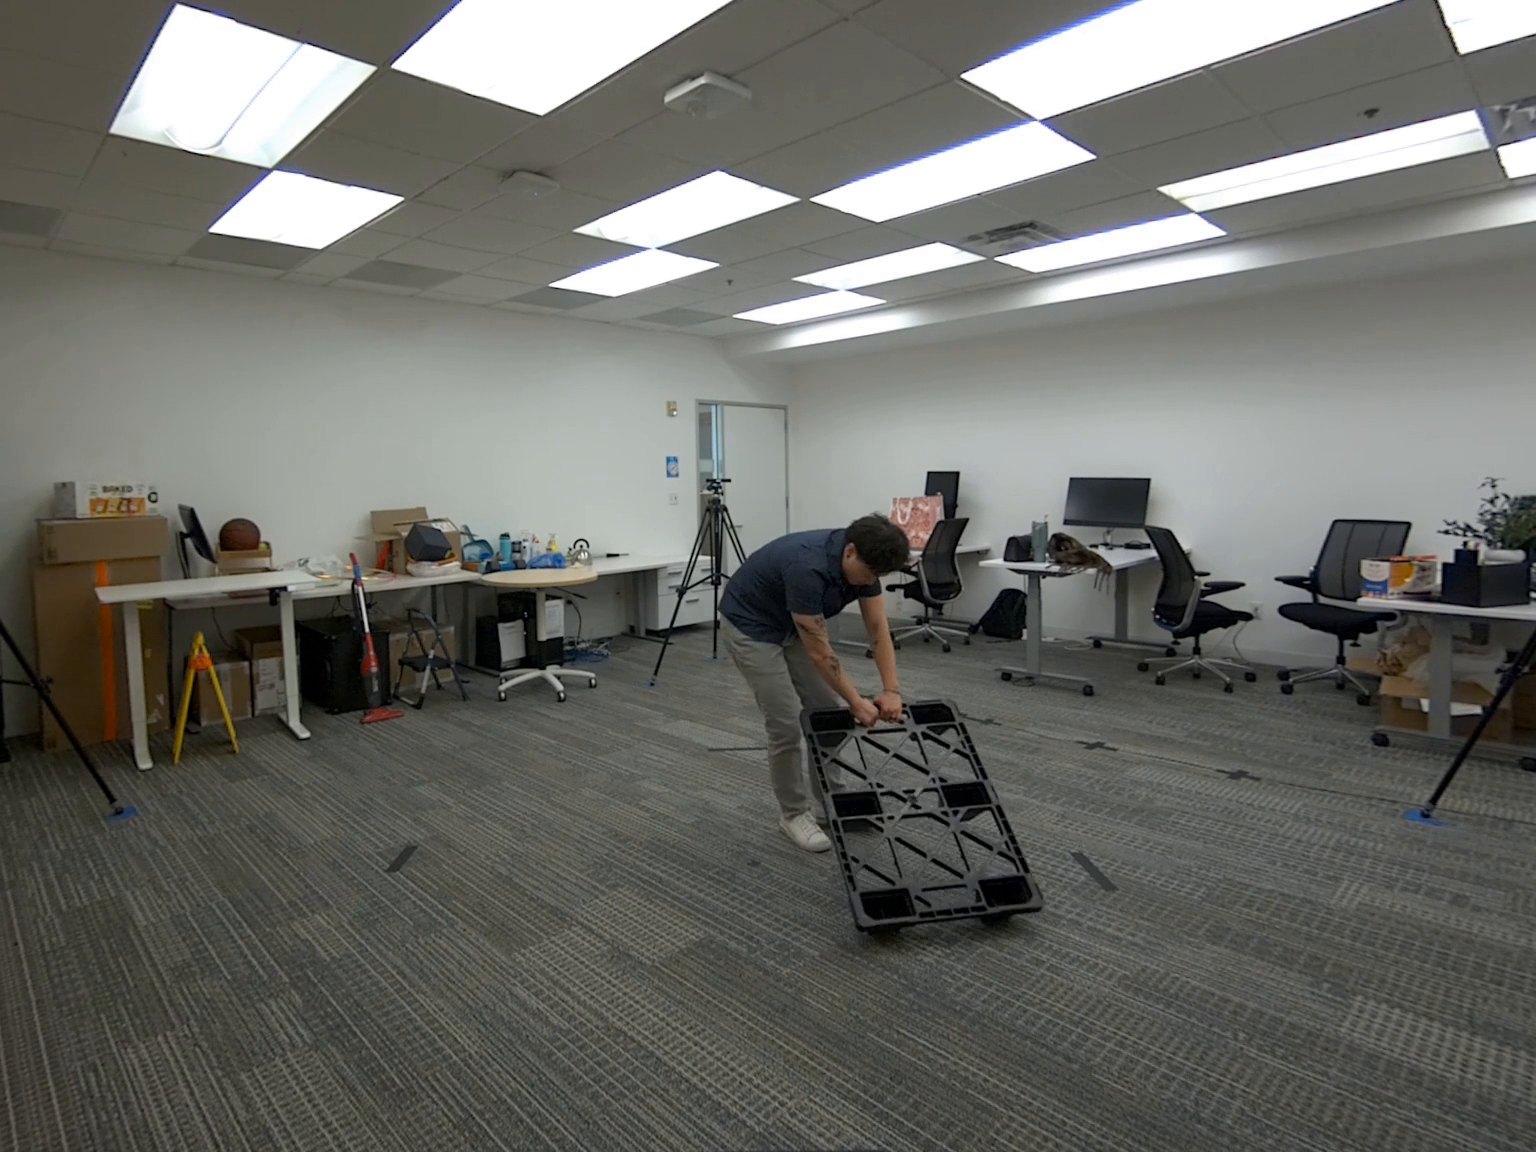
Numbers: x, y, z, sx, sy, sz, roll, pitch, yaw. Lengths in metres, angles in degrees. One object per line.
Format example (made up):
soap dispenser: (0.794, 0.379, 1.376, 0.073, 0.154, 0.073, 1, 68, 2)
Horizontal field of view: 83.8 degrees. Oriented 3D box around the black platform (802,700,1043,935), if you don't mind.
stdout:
black platform: (0.481, 0.784, 2.889, 0.599, 0.140, 0.832, -2, 42, -11)
